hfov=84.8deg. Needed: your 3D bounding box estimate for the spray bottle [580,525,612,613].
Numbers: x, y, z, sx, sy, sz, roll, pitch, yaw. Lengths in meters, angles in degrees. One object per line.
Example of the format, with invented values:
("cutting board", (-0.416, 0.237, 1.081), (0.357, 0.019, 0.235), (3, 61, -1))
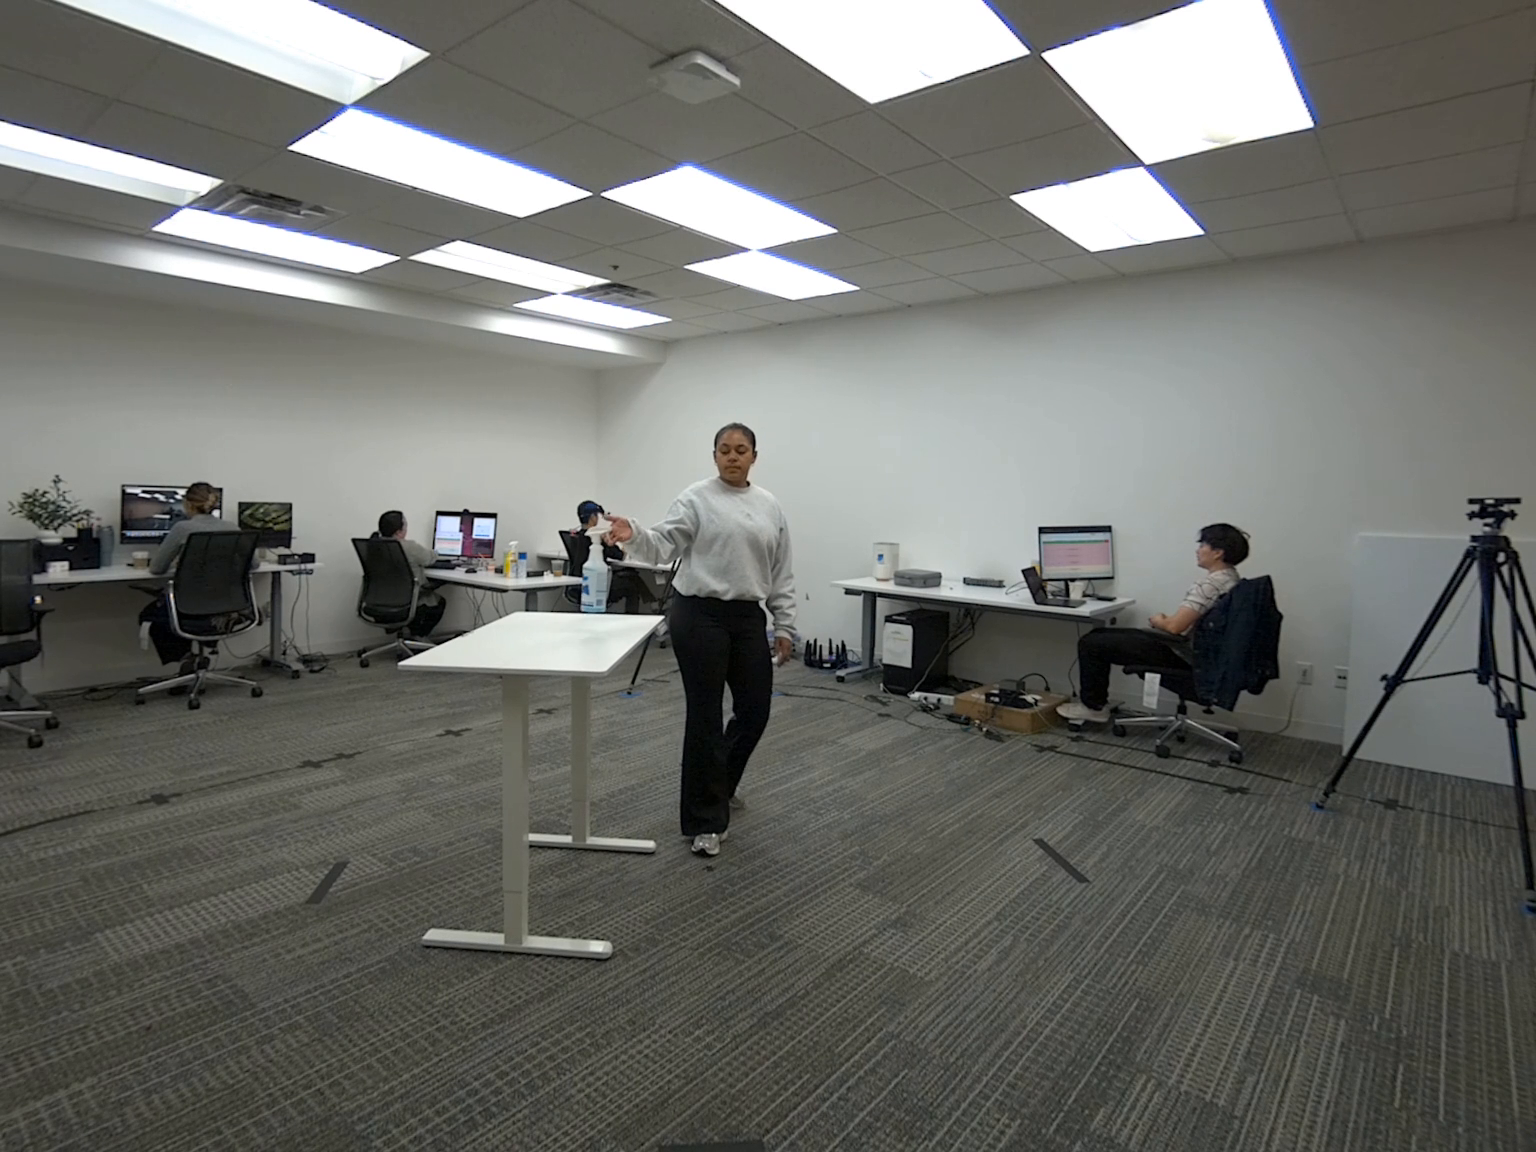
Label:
("spray bottle", (-0.605, -0.022, 2.962), (0.092, 0.297, 0.085), (5, 0, 21))
